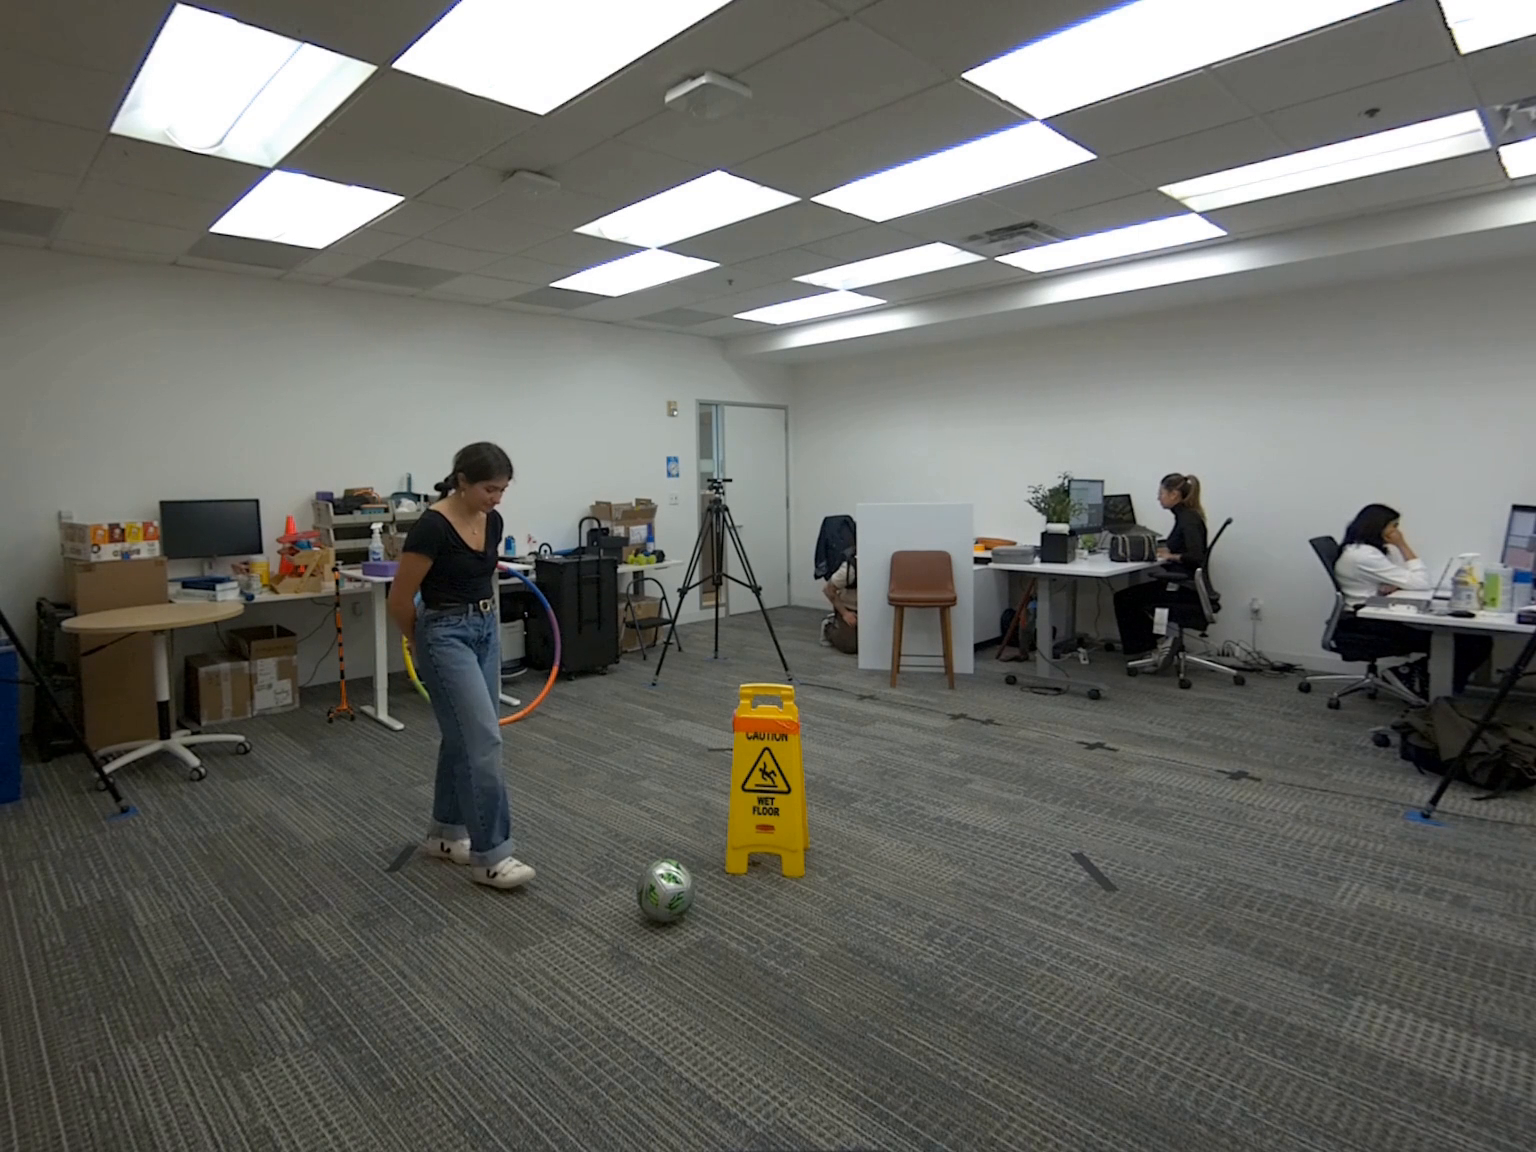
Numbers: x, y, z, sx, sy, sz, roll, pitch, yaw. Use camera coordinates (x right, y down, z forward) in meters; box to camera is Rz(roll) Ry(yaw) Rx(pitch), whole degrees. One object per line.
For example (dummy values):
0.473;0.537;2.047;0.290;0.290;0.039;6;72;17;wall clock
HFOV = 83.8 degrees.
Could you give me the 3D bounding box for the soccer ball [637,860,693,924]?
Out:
-0.321;1.000;2.727;0.187;0.187;0.188;-1;5;-2;soccer ball
